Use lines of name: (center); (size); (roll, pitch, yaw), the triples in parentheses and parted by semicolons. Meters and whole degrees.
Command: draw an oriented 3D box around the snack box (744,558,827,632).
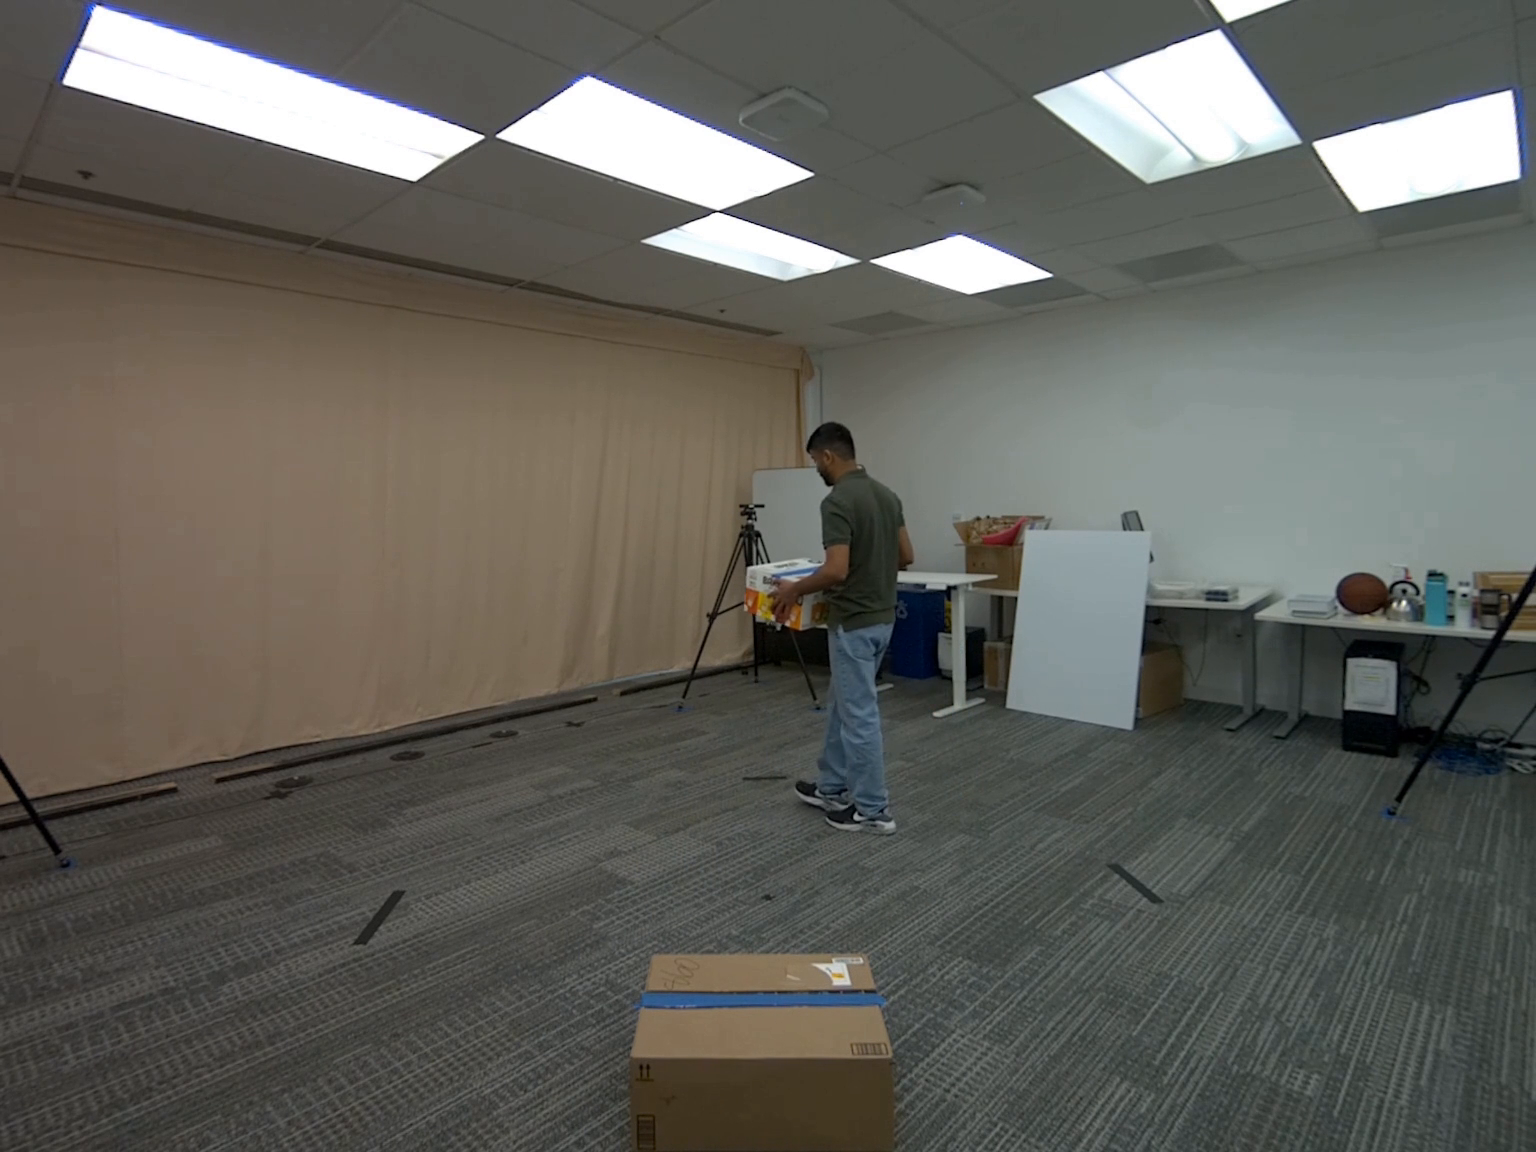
snack box: (0.155, 0.075, 3.778); (0.353, 0.204, 0.393); (17, 18, 41)
